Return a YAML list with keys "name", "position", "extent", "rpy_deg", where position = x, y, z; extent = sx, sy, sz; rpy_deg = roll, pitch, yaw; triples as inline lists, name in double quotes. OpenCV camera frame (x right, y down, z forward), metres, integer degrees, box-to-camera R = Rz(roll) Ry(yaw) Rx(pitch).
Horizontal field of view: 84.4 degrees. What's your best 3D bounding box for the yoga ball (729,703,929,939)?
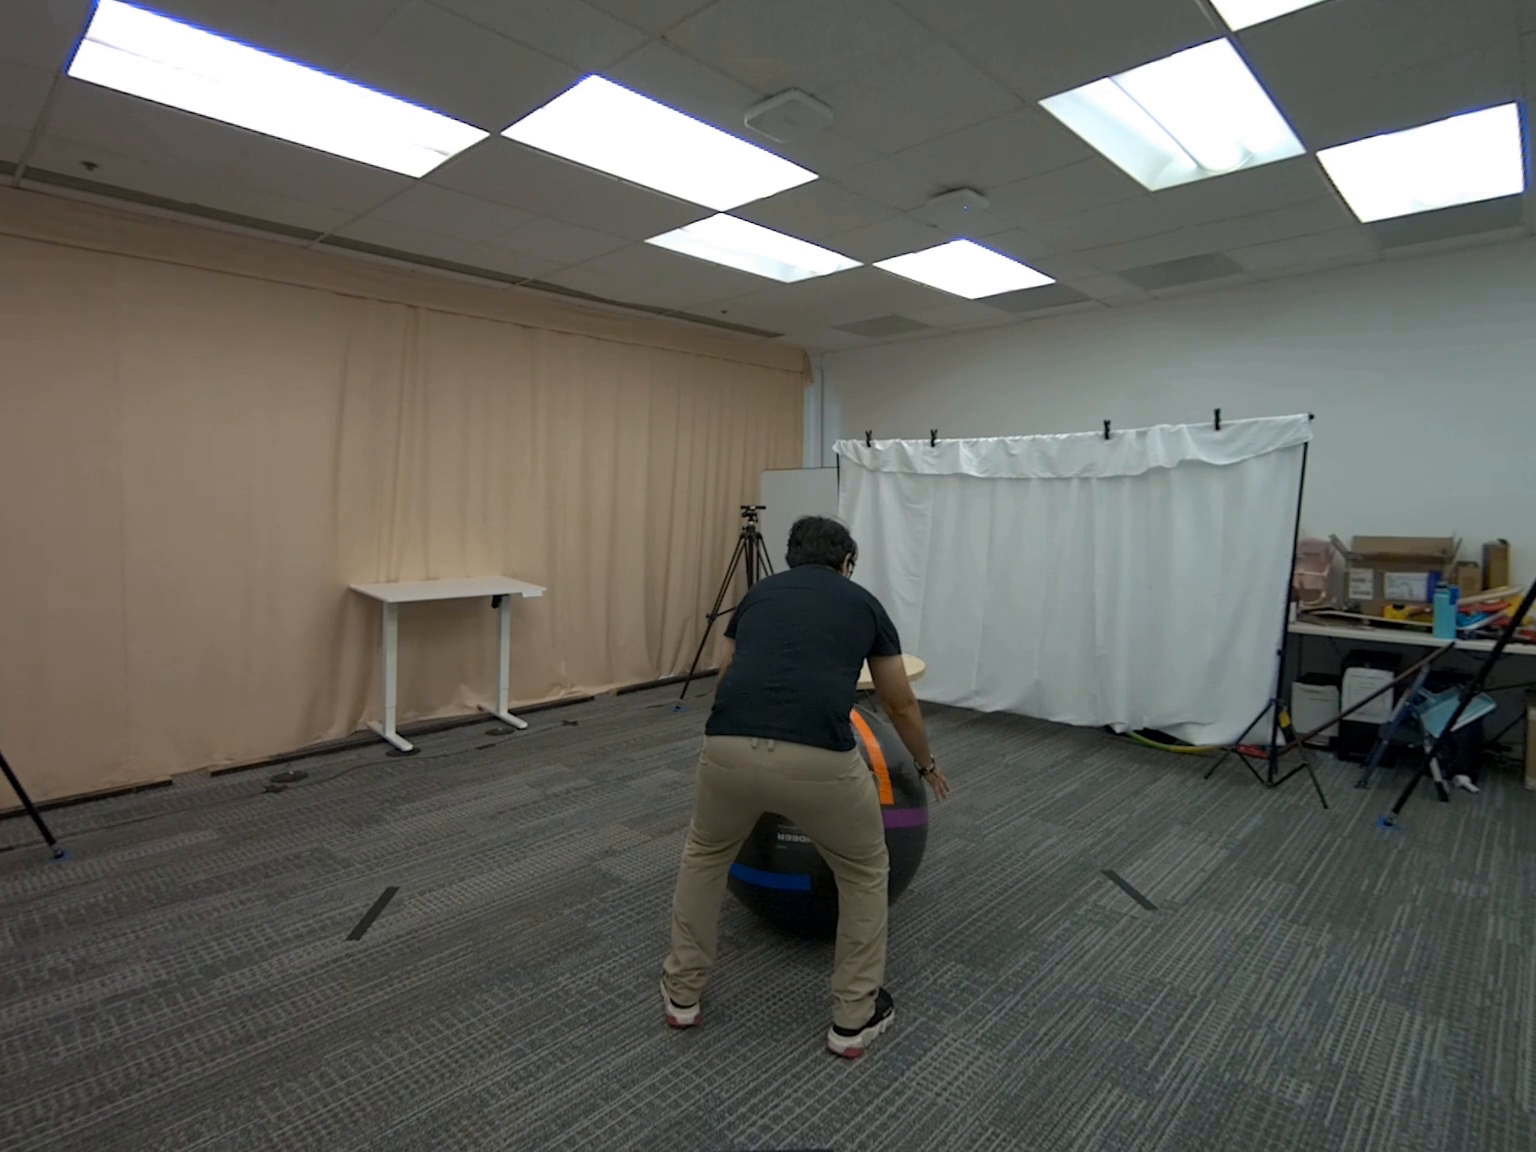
- name: "yoga ball"
  position: [0.149, 0.793, 2.826]
  extent: [0.757, 0.756, 0.760]
  rpy_deg: [0, 4, -2]
